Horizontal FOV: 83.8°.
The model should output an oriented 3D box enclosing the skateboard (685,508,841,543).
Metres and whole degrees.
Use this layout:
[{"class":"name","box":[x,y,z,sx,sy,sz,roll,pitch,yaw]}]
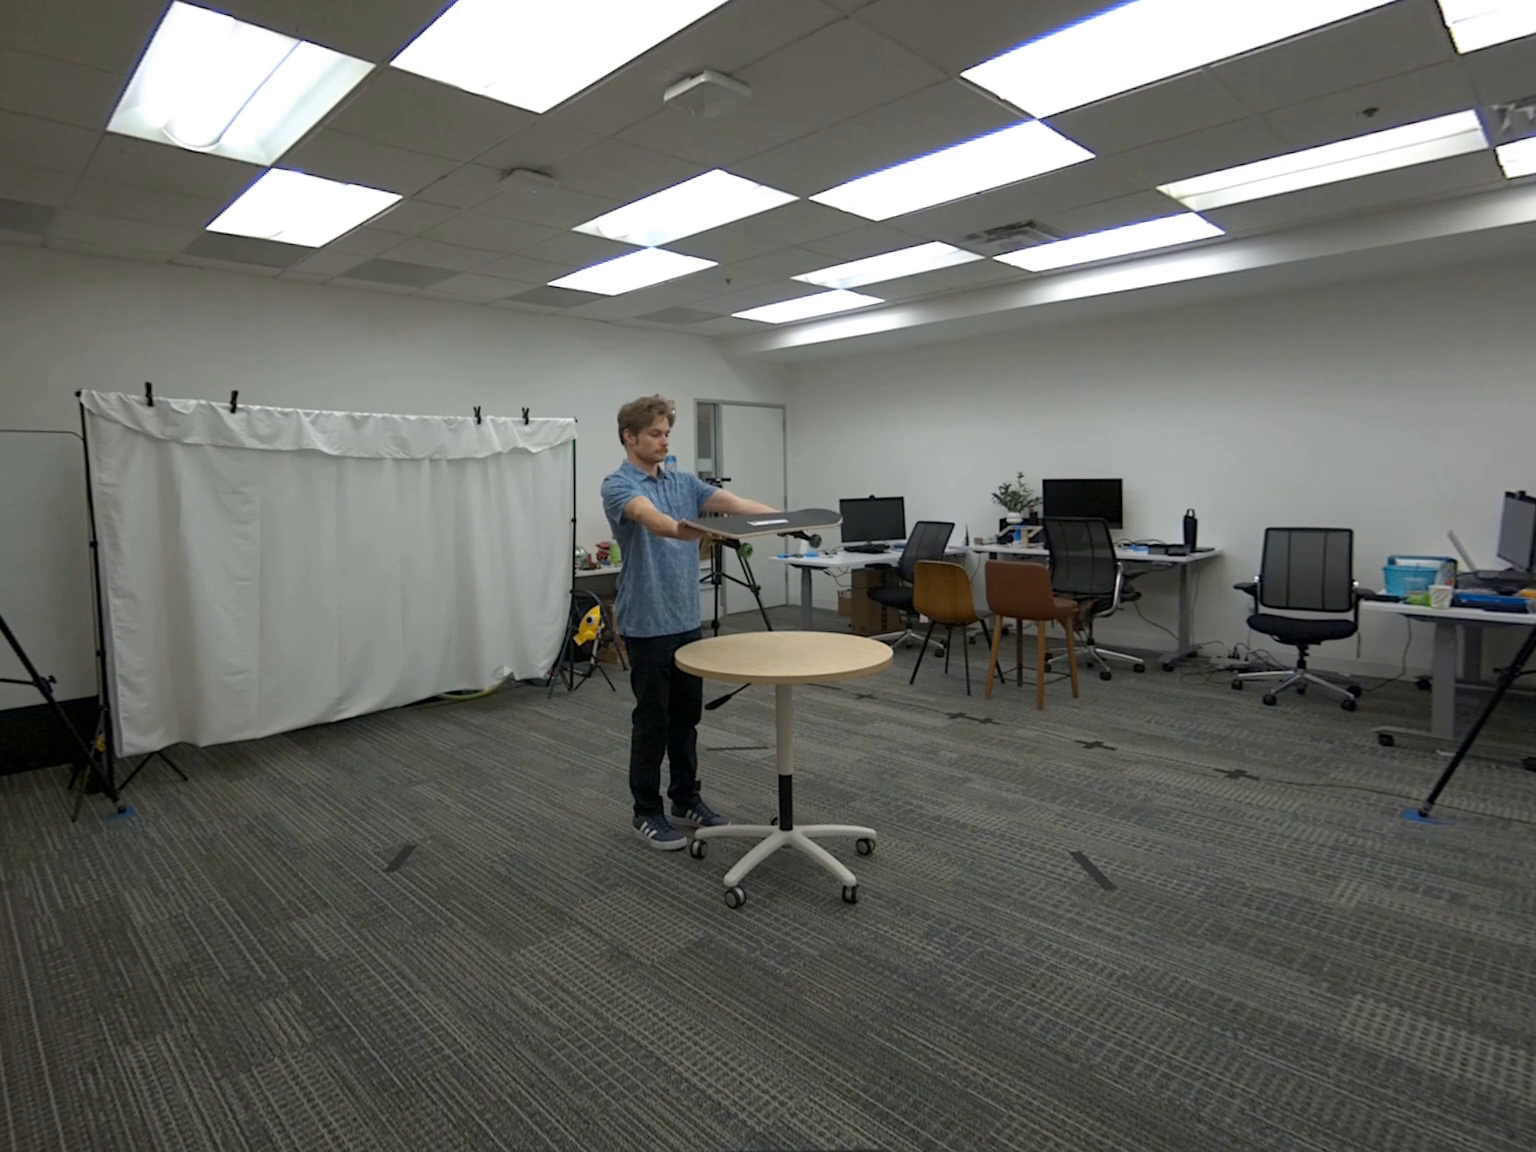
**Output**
[{"class":"skateboard","box":[-0.005,-0.151,2.981,0.200,0.109,0.766,21,19,36]}]
